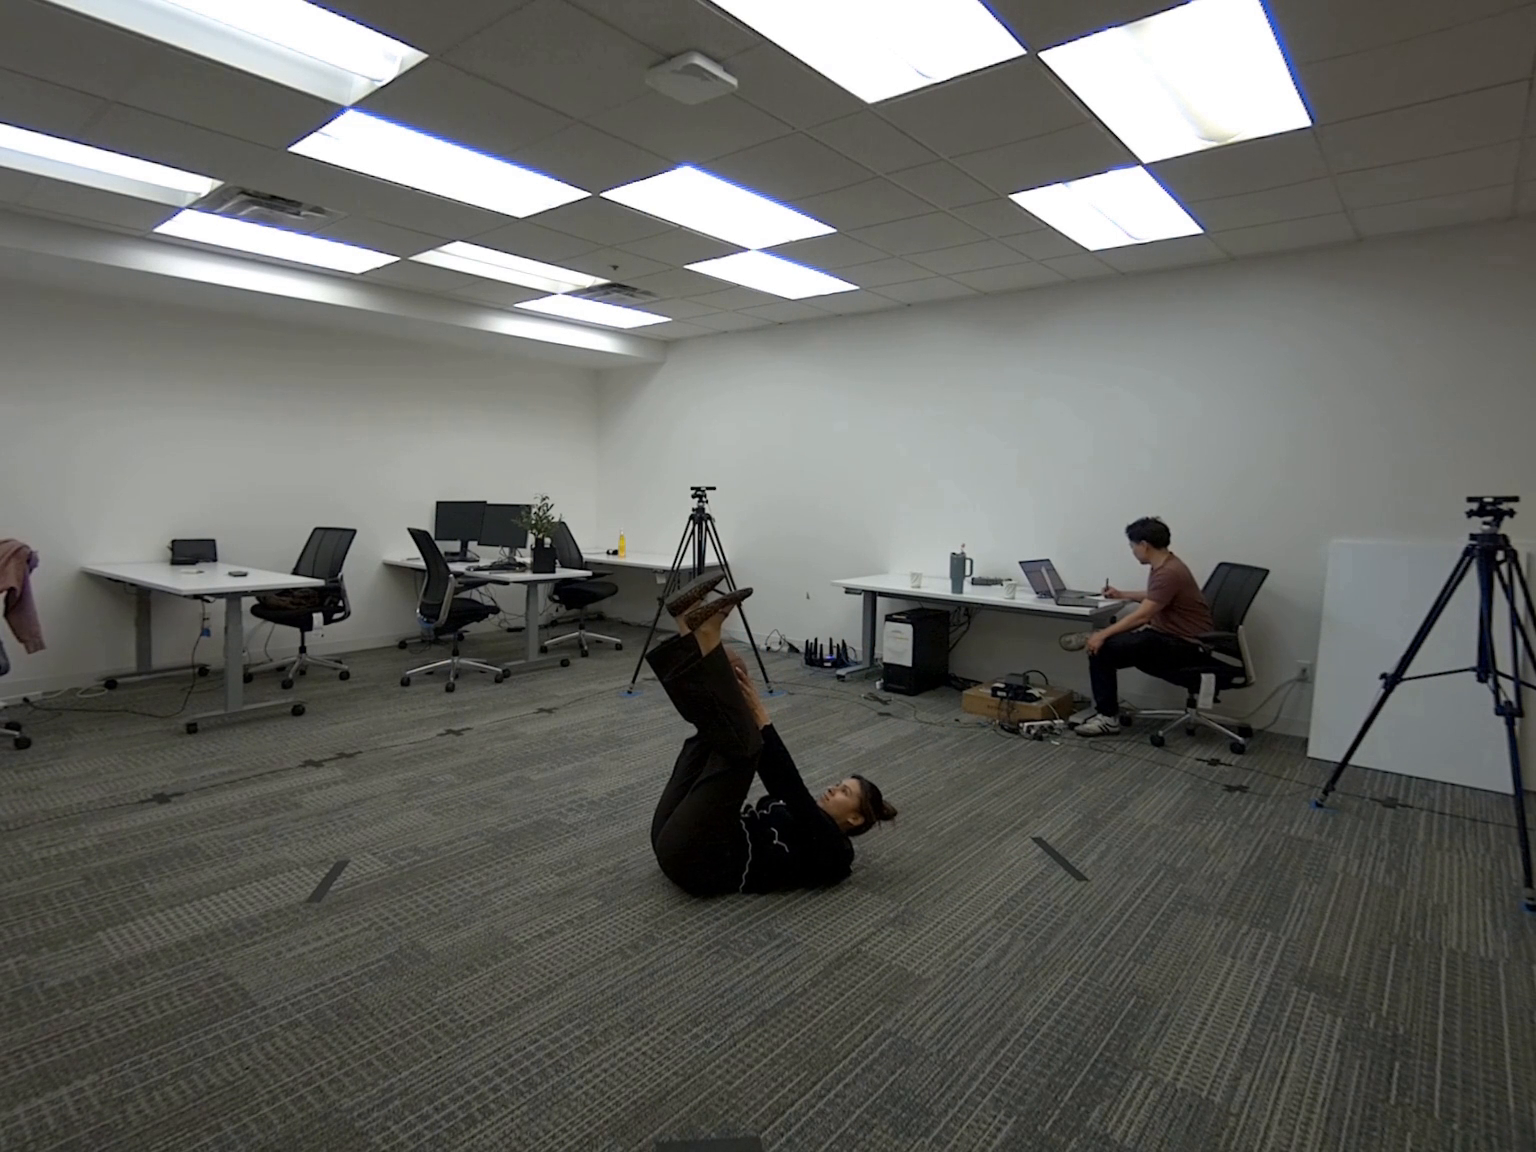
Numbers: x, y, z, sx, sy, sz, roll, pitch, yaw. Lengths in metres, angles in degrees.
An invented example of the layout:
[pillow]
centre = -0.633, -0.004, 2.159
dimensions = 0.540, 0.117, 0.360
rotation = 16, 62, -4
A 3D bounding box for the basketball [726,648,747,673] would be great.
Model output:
[basketball]
centre = -0.205, 0.361, 2.996
dimensions = 0.236, 0.235, 0.237
rotation = 1, 4, -2
